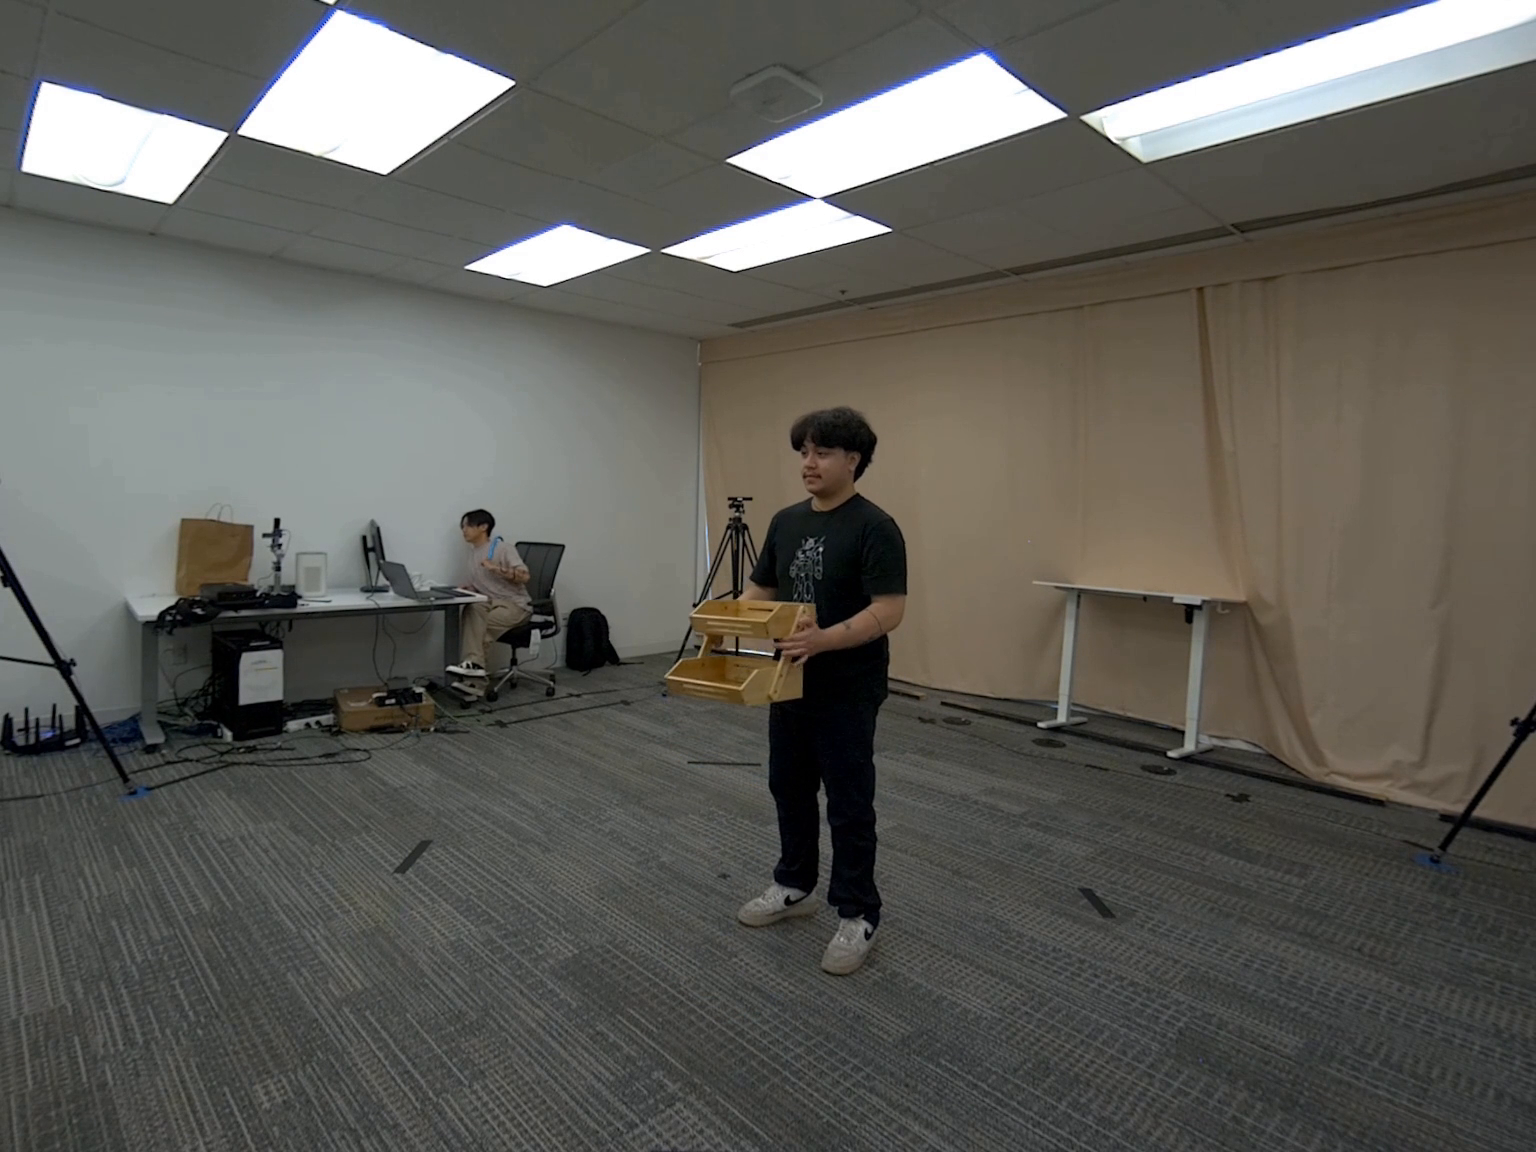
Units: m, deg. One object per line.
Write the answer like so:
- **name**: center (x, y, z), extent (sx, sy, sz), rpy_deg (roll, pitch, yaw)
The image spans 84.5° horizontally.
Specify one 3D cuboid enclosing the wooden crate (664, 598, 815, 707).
- **wooden crate**: center (-0.084, 0.206, 2.371), extent (0.332, 0.273, 0.294), rpy_deg (2, 0, 41)
